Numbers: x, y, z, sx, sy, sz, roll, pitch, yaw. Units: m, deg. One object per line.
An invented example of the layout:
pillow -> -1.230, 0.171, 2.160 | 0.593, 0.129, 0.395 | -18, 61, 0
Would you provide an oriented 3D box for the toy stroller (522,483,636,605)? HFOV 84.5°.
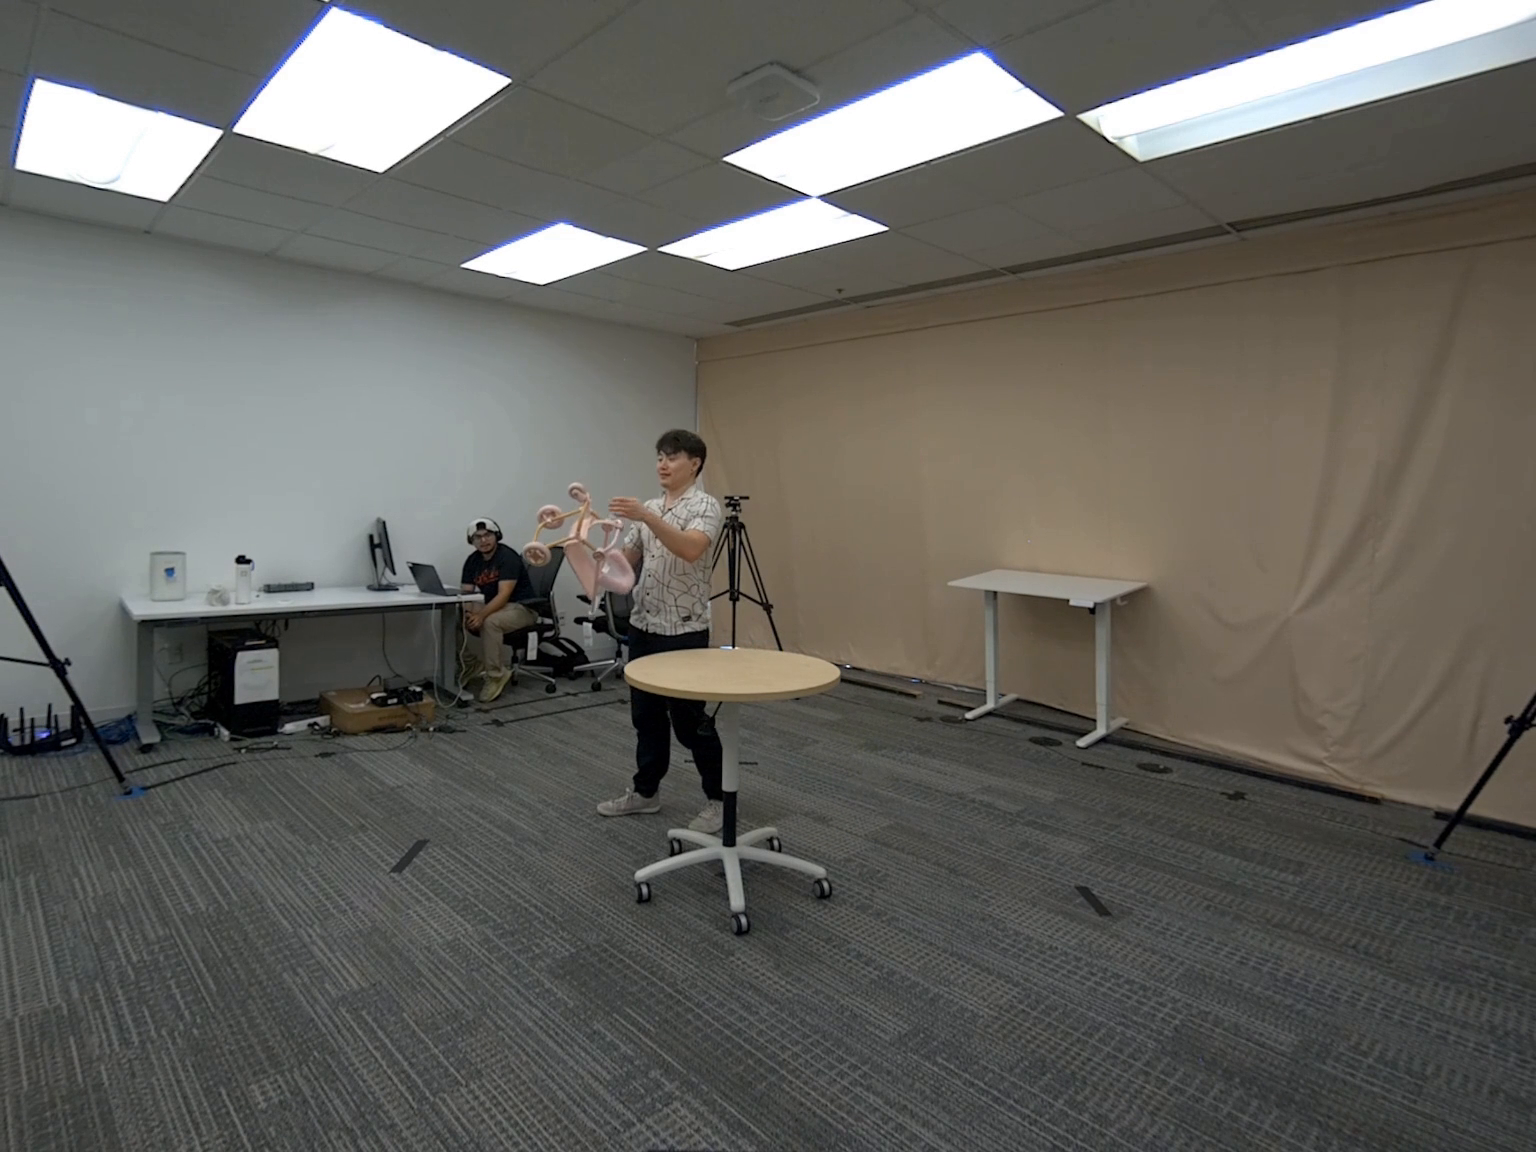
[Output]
toy stroller -> -0.701, -0.104, 3.313 | 0.343, 0.521, 0.287 | -29, 30, 16
